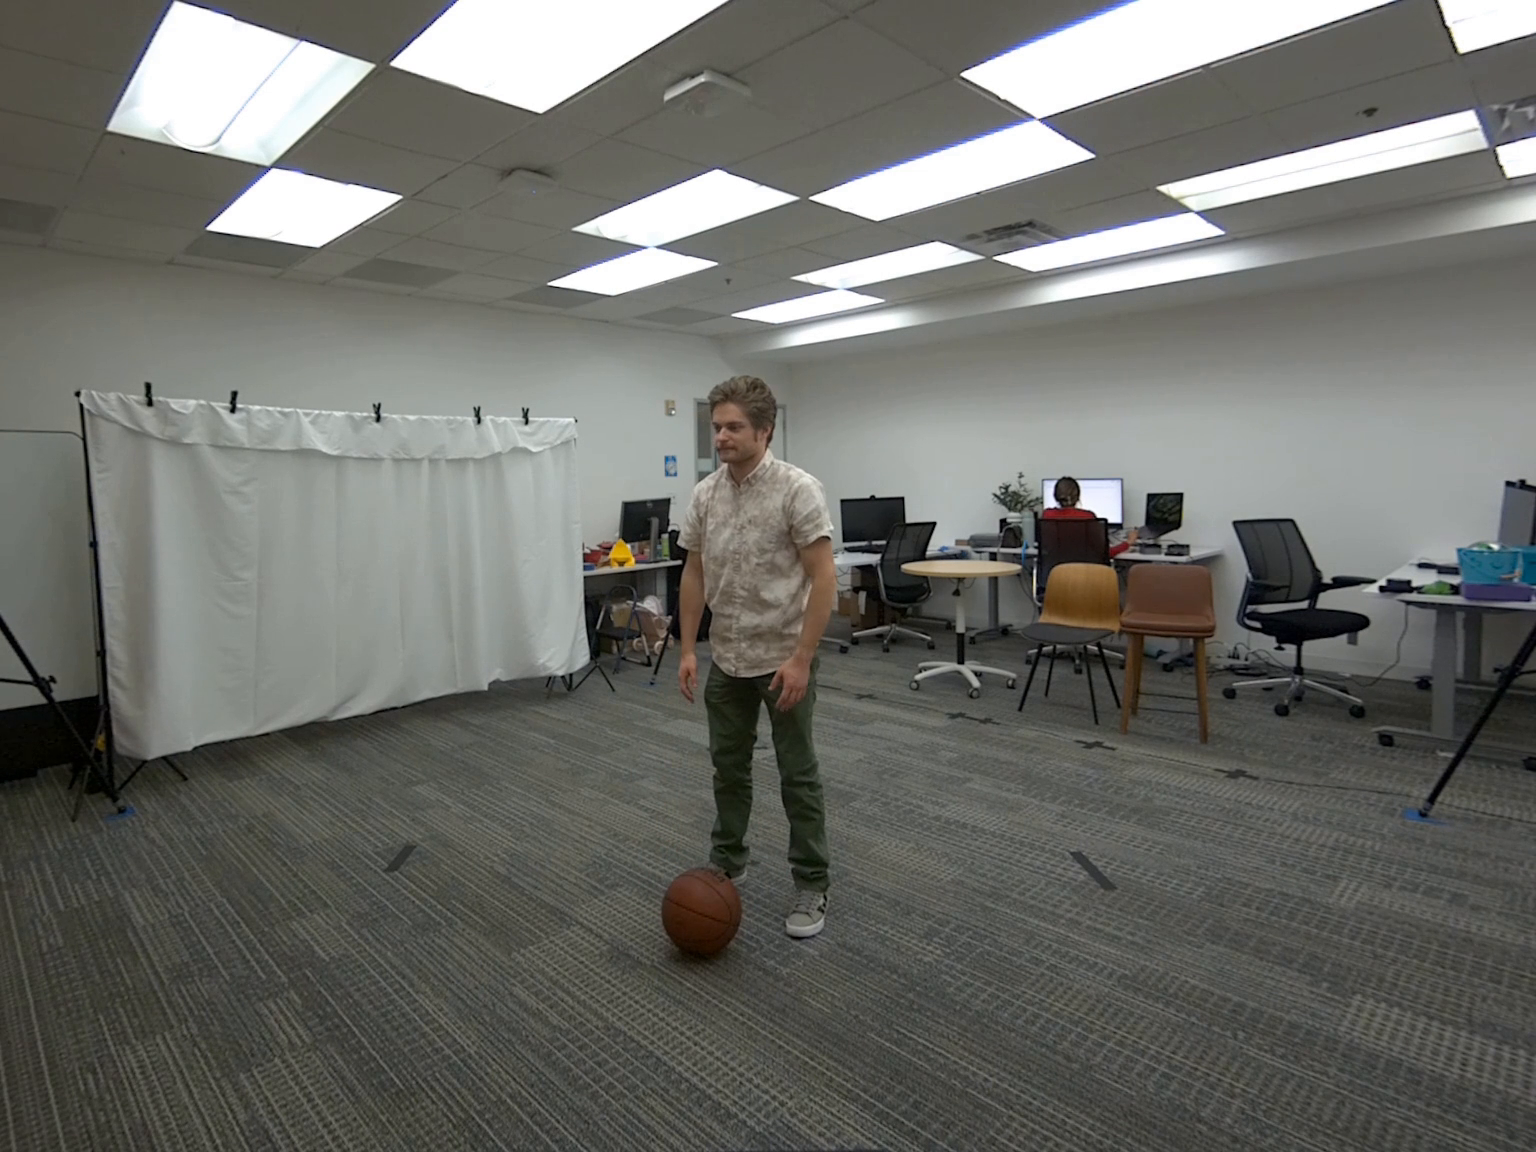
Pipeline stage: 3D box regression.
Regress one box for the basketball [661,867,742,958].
[{"bbox_3d":[-0.188,0.996,2.540,0.236,0.235,0.237,-1,5,-2],"label":"basketball"}]
